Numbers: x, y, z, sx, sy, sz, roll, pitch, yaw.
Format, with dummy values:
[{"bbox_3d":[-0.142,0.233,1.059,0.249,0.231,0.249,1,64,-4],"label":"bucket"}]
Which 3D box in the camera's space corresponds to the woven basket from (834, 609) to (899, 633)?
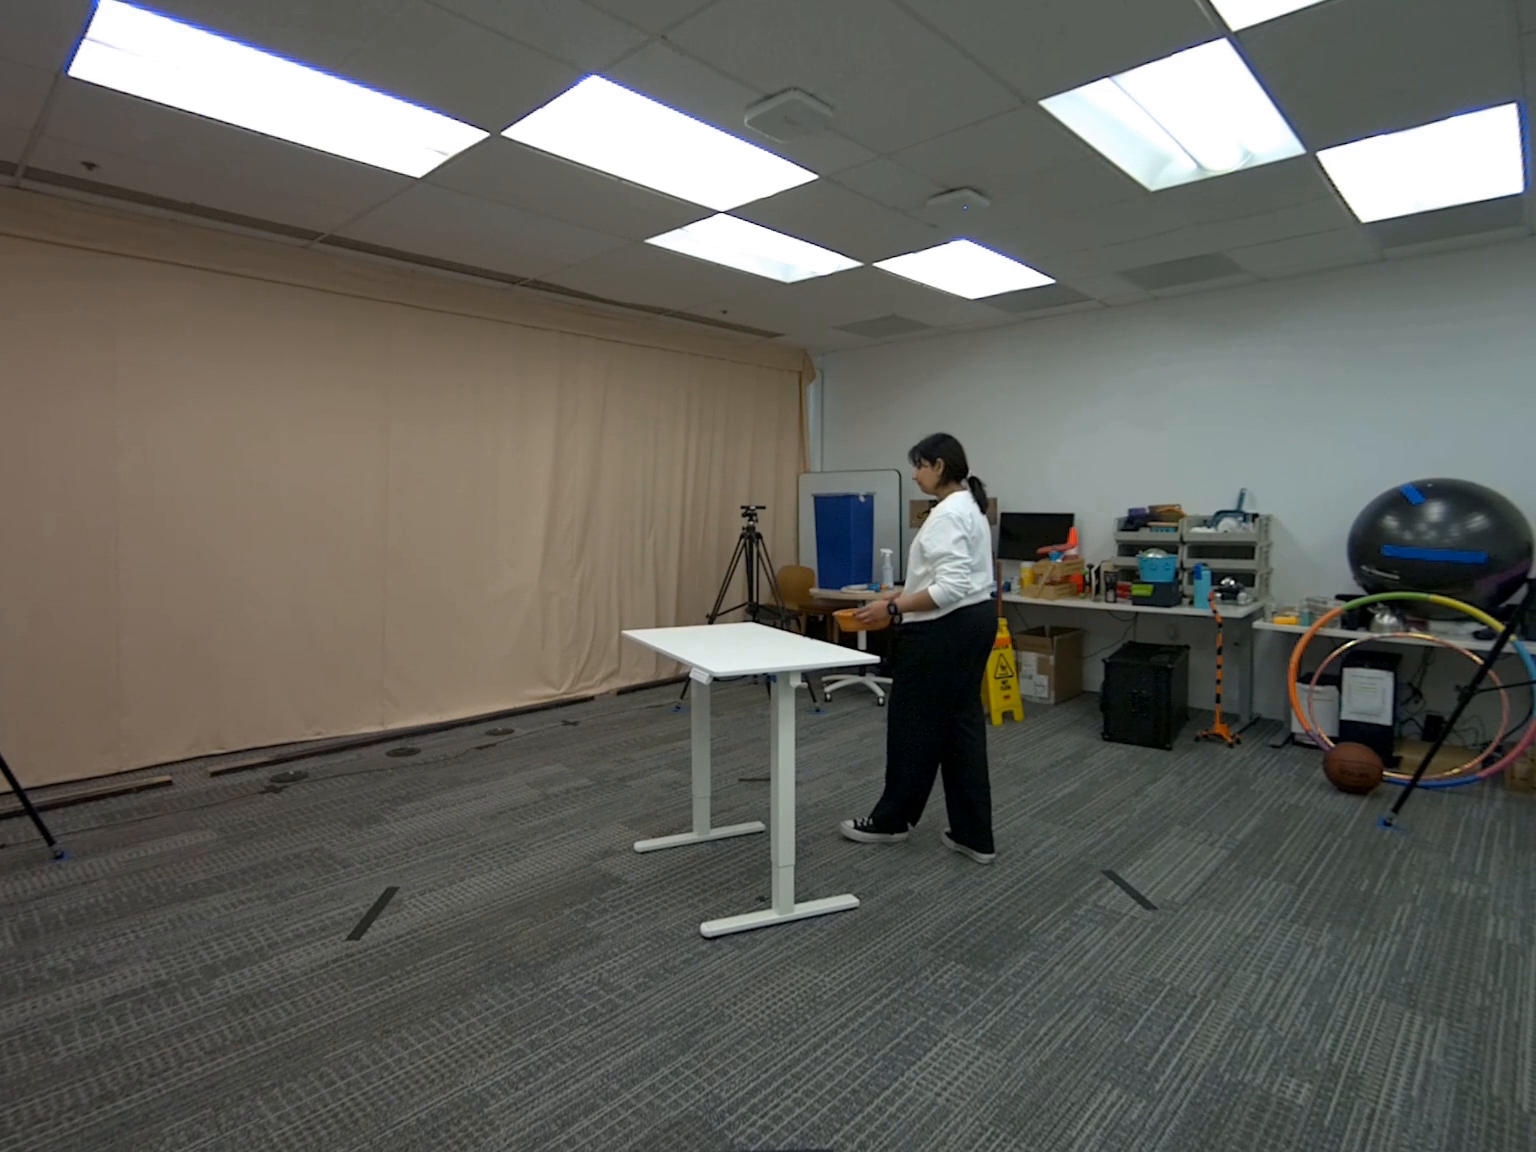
[{"bbox_3d":[0.446,0.183,3.515,0.258,0.073,0.342,-1,0,23],"label":"woven basket"}]
